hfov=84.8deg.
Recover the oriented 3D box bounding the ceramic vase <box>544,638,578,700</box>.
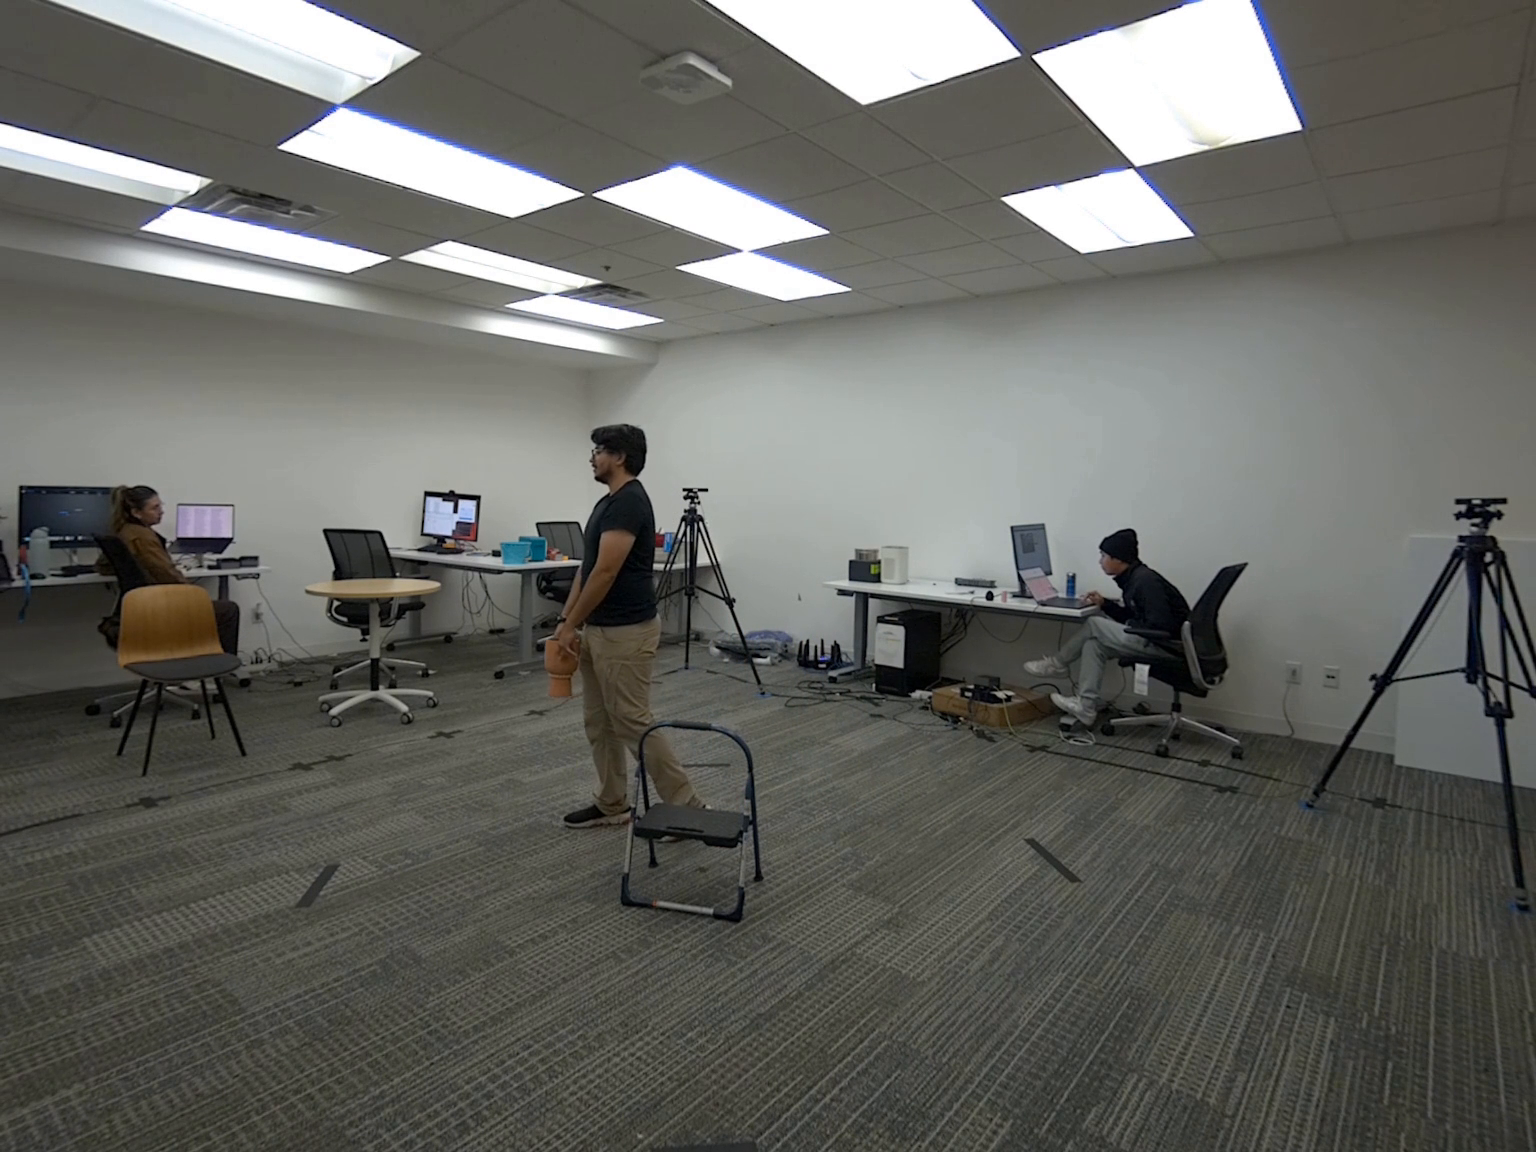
[{"bbox_3d":[-0.834,0.361,3.385,0.138,0.220,0.155,4,1,24],"label":"ceramic vase"}]
